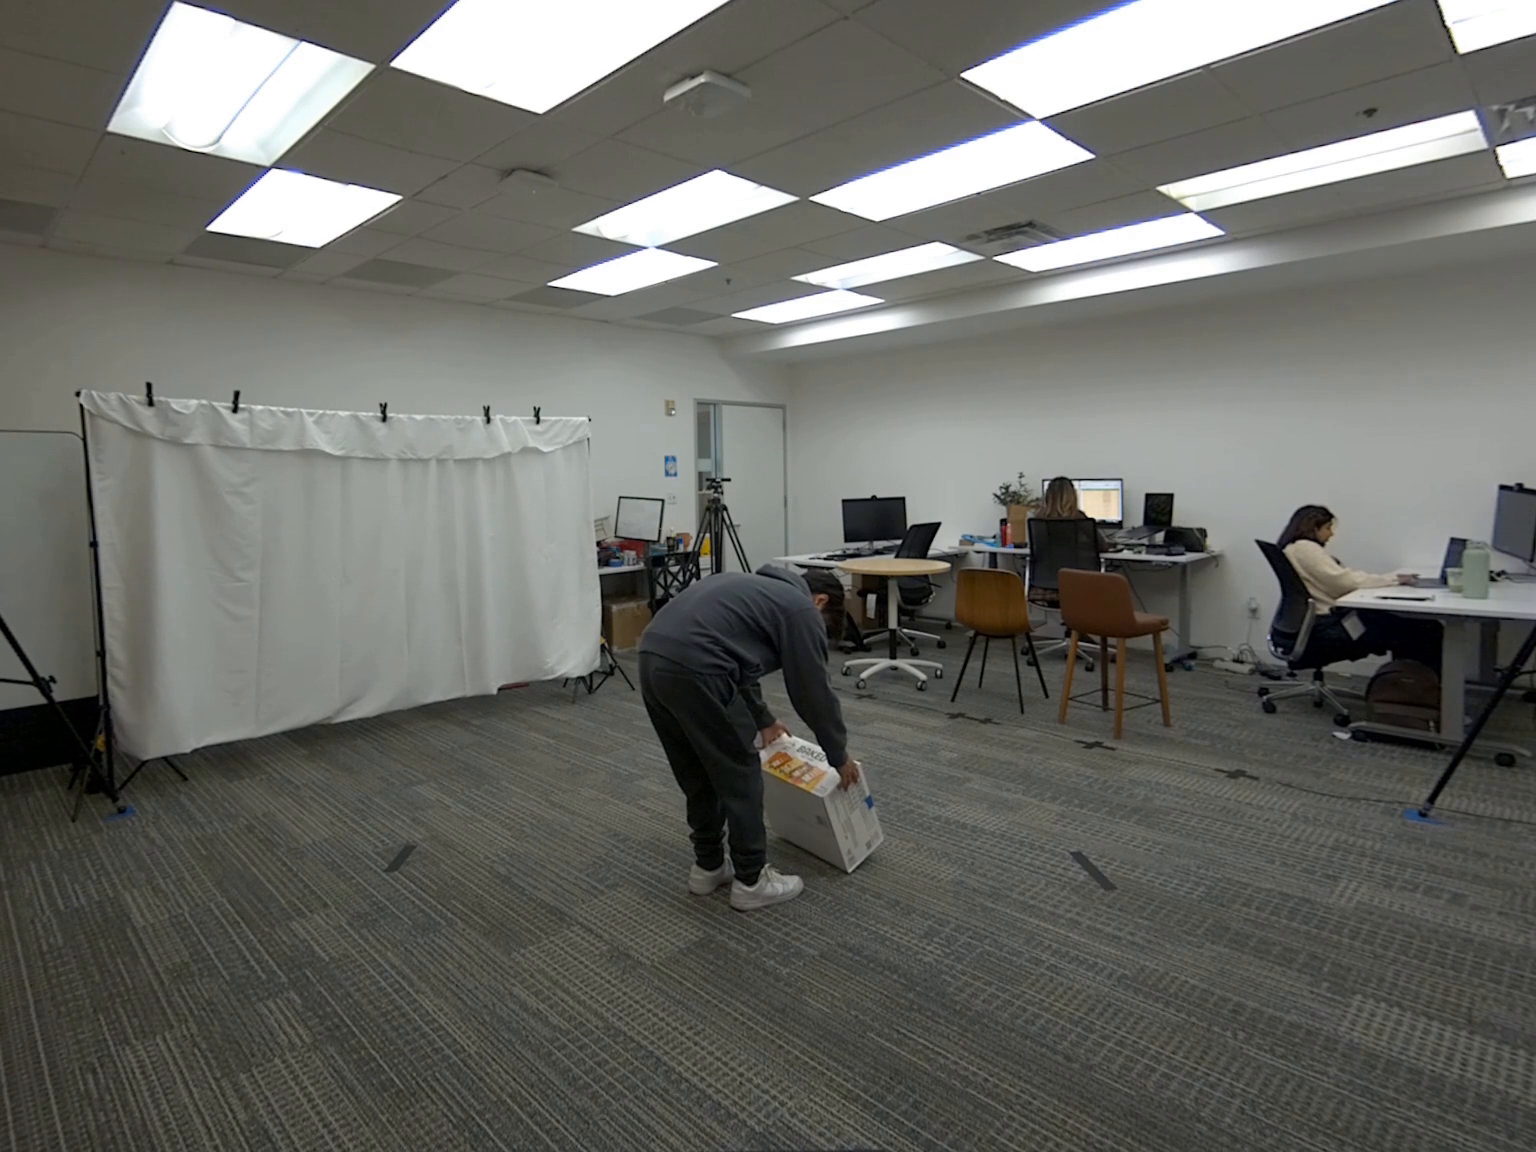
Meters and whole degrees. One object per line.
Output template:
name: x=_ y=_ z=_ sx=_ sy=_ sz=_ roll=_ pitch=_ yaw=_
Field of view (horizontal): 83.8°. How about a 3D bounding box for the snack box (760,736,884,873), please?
snack box: x=0.176 y=0.829 z=3.158 sx=0.204 sy=0.333 sz=0.418 roll=-31 pitch=24 yaw=-32
